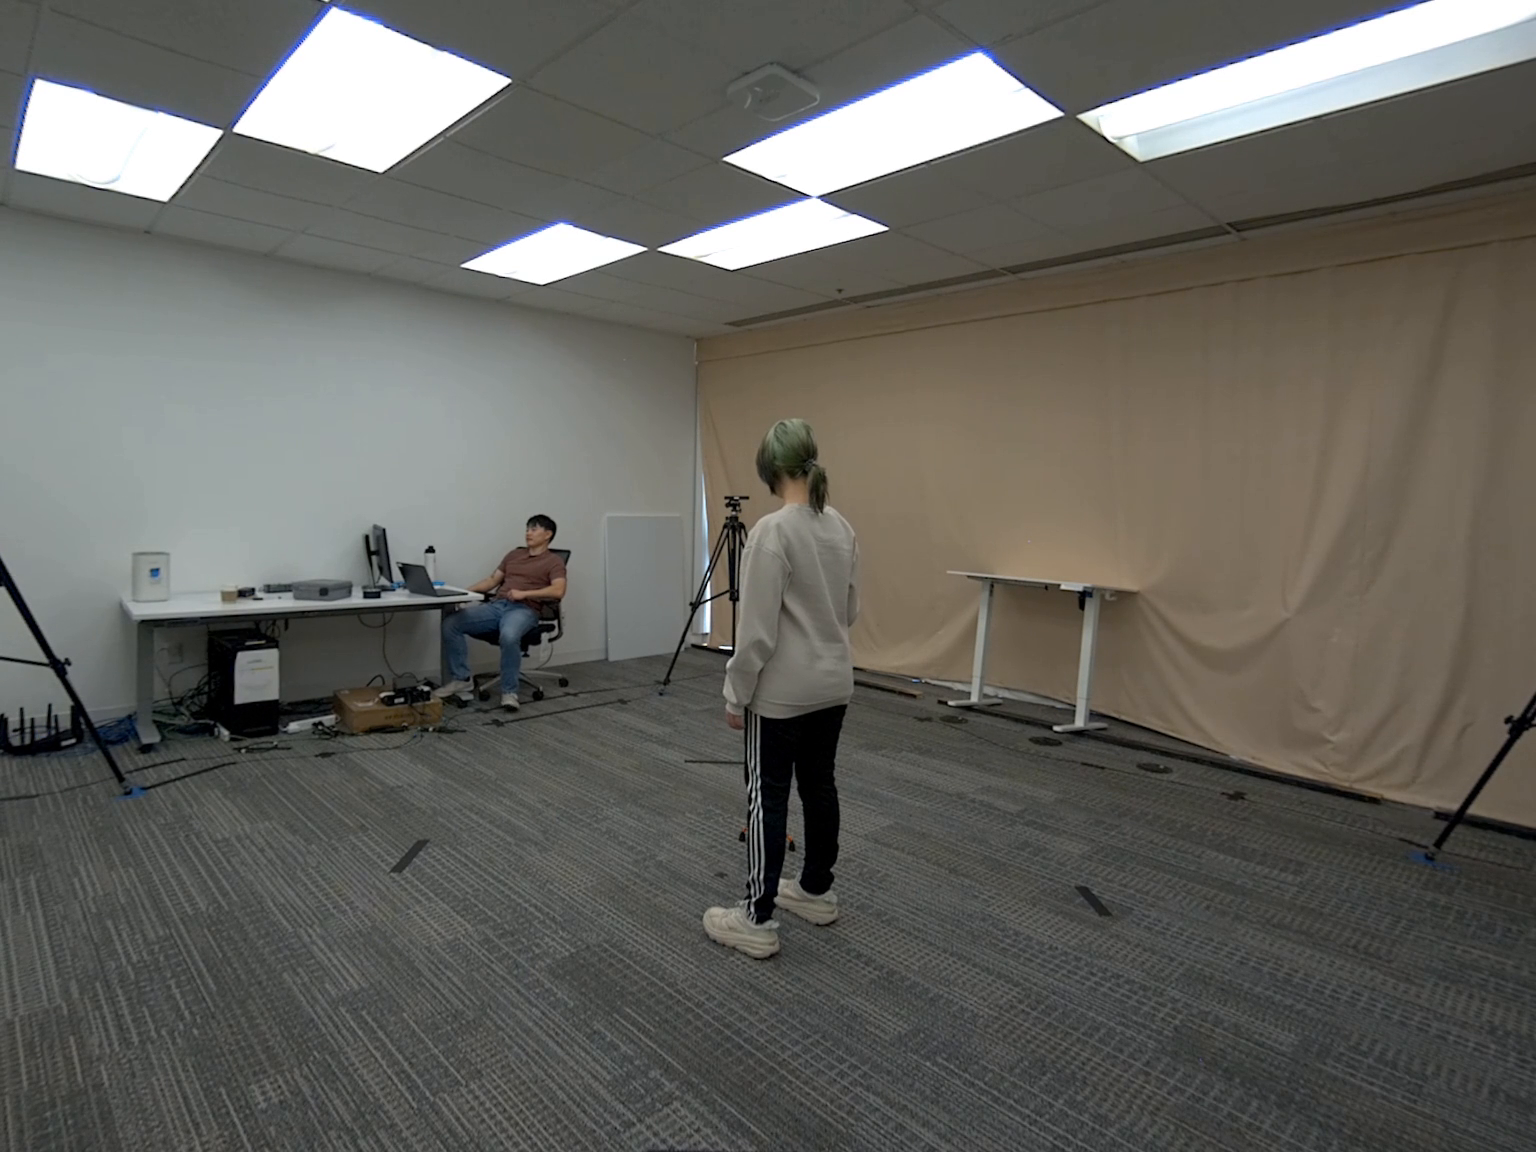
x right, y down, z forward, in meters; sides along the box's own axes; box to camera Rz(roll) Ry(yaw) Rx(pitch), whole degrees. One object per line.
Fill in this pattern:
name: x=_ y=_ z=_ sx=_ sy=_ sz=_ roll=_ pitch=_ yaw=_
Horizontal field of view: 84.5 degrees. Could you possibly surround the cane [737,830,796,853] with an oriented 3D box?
cane: x=0.003 y=0.631 z=3.361 sx=0.148 sy=0.906 sz=0.211 roll=0 pitch=3 yaw=-33
